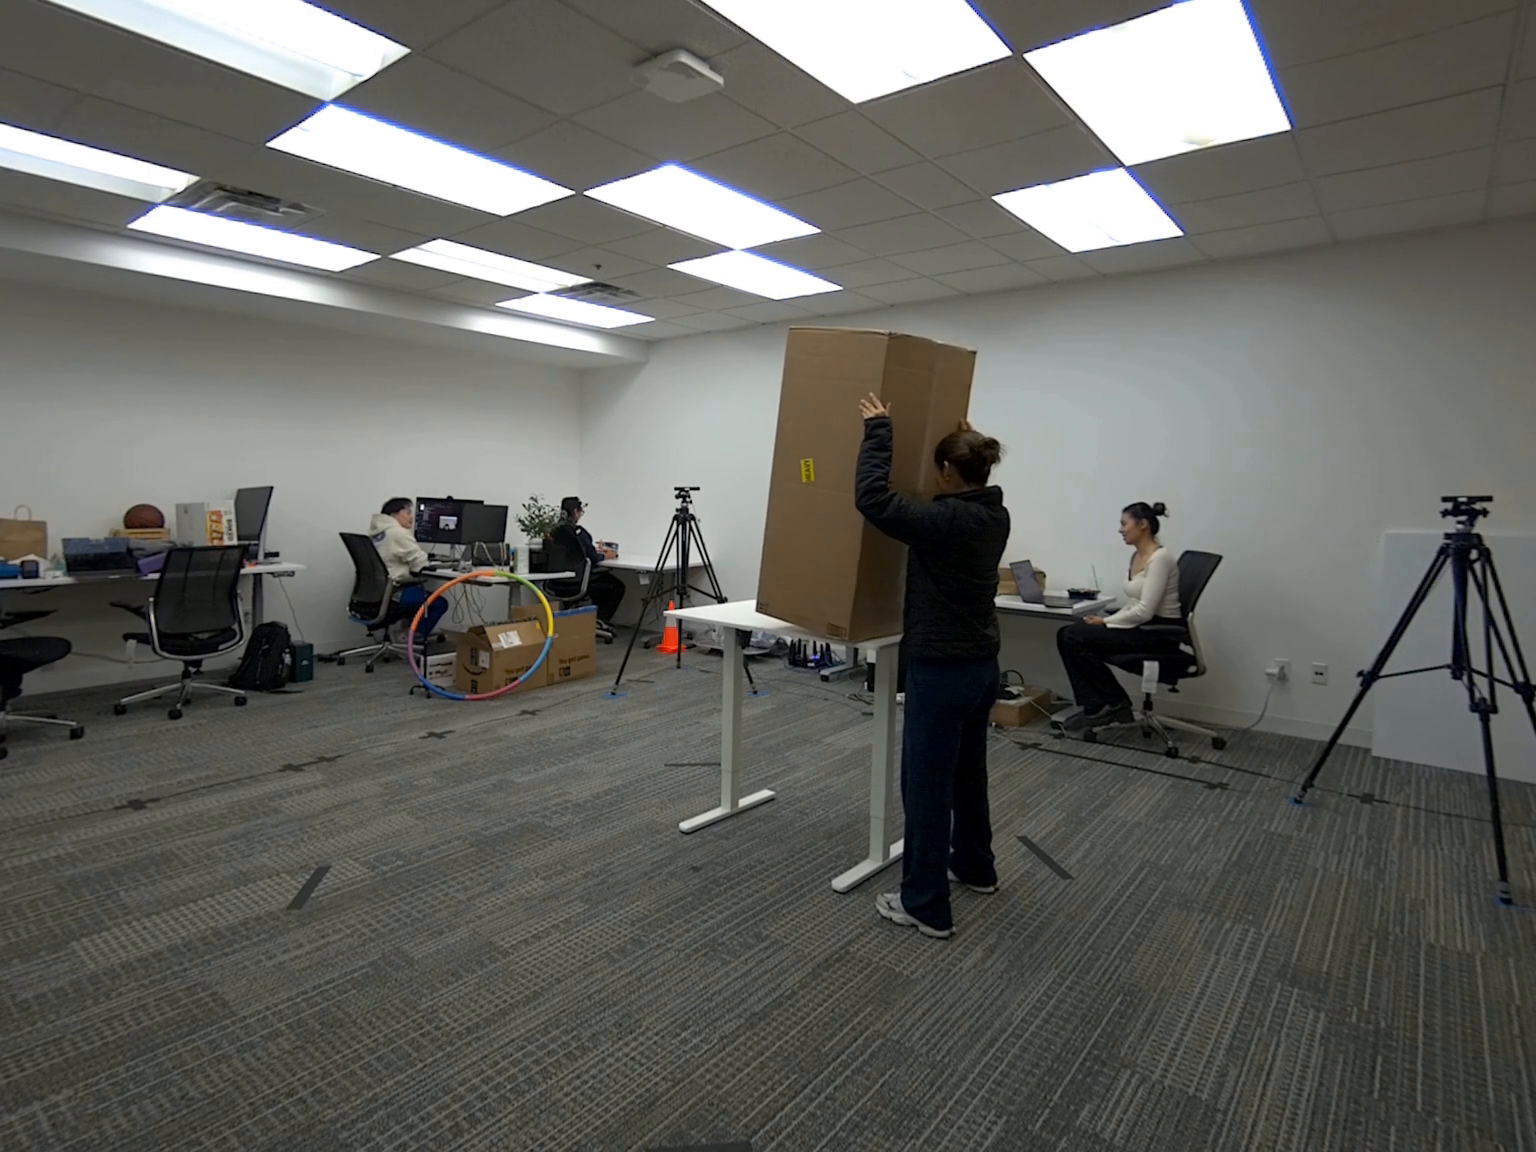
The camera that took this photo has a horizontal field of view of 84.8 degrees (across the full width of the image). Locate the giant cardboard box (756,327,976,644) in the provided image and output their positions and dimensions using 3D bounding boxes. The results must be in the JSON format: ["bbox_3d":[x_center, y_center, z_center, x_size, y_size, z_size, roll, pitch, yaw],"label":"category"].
[{"bbox_3d":[0.366,-0.342,3.086,0.566,1.018,0.464,-4,14,-45],"label":"giant cardboard box"}]
